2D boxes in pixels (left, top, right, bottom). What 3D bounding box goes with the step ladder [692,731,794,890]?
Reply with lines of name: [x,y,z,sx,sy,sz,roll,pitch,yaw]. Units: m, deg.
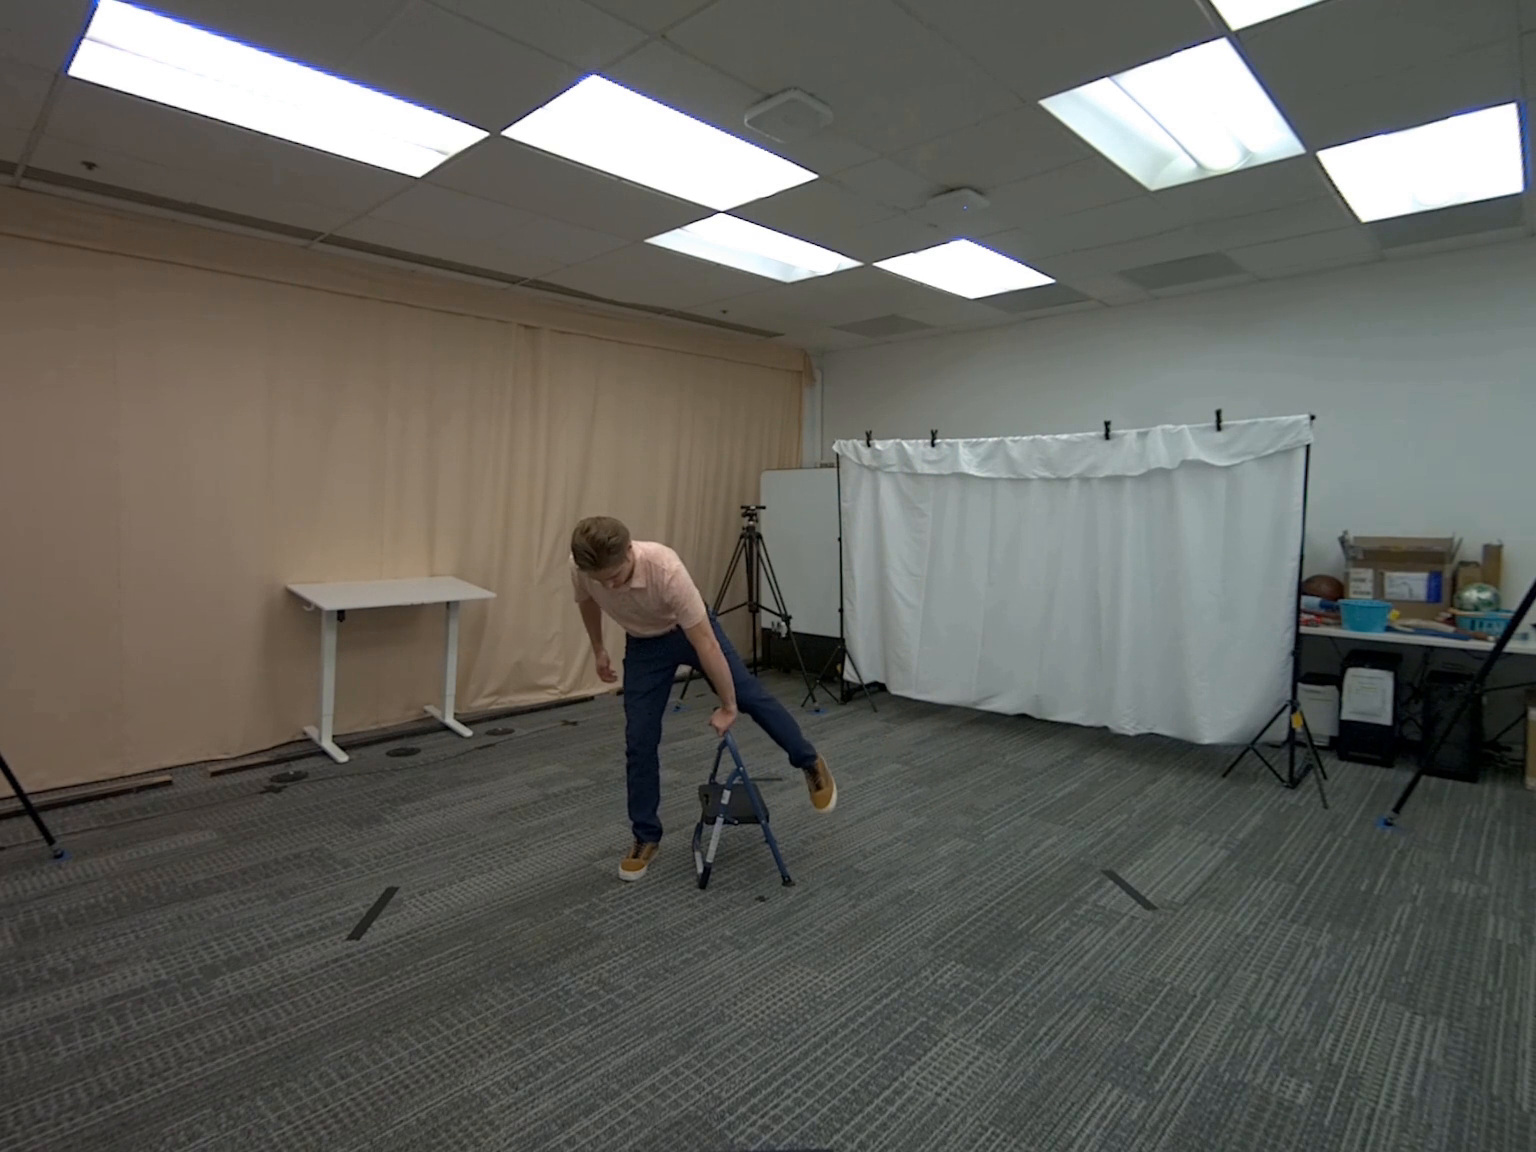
step ladder: [-0.112,0.821,3.260,0.346,0.605,0.435,0,3,-9]
